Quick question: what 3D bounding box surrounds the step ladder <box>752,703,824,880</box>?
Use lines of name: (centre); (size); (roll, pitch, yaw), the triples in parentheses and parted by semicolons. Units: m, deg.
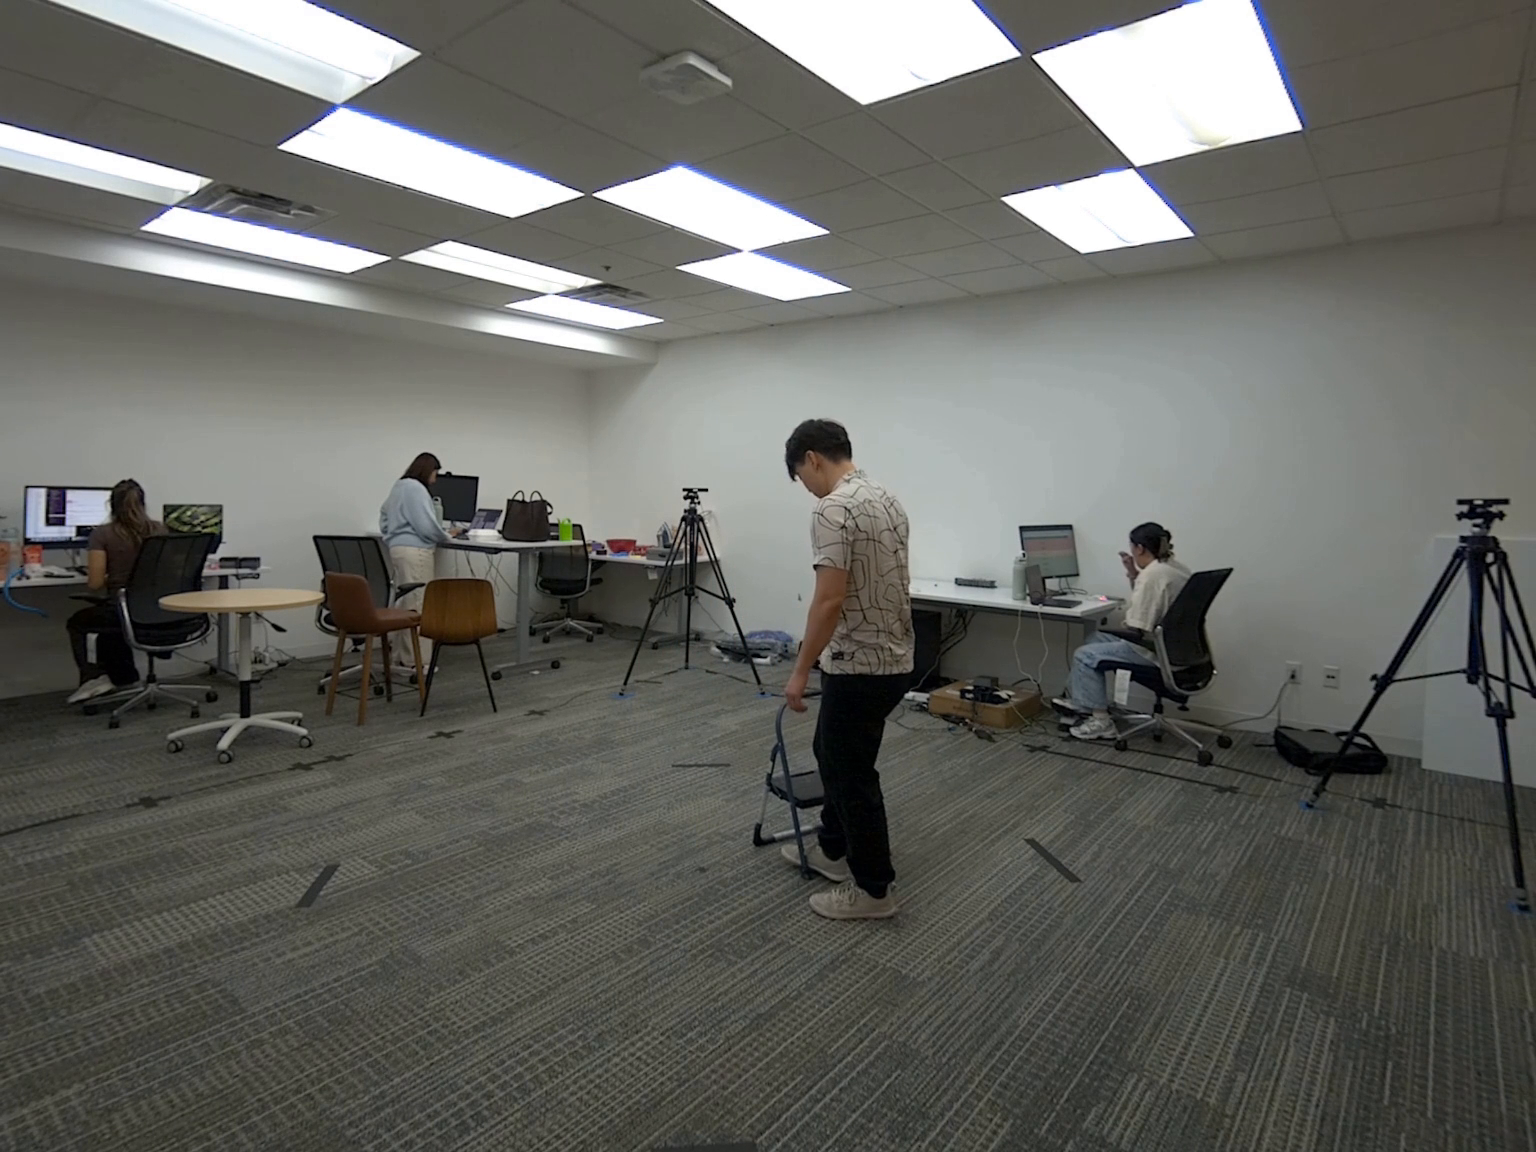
step ladder: (0.204, 0.756, 3.293); (0.418, 0.604, 0.361); (-1, 4, -36)
